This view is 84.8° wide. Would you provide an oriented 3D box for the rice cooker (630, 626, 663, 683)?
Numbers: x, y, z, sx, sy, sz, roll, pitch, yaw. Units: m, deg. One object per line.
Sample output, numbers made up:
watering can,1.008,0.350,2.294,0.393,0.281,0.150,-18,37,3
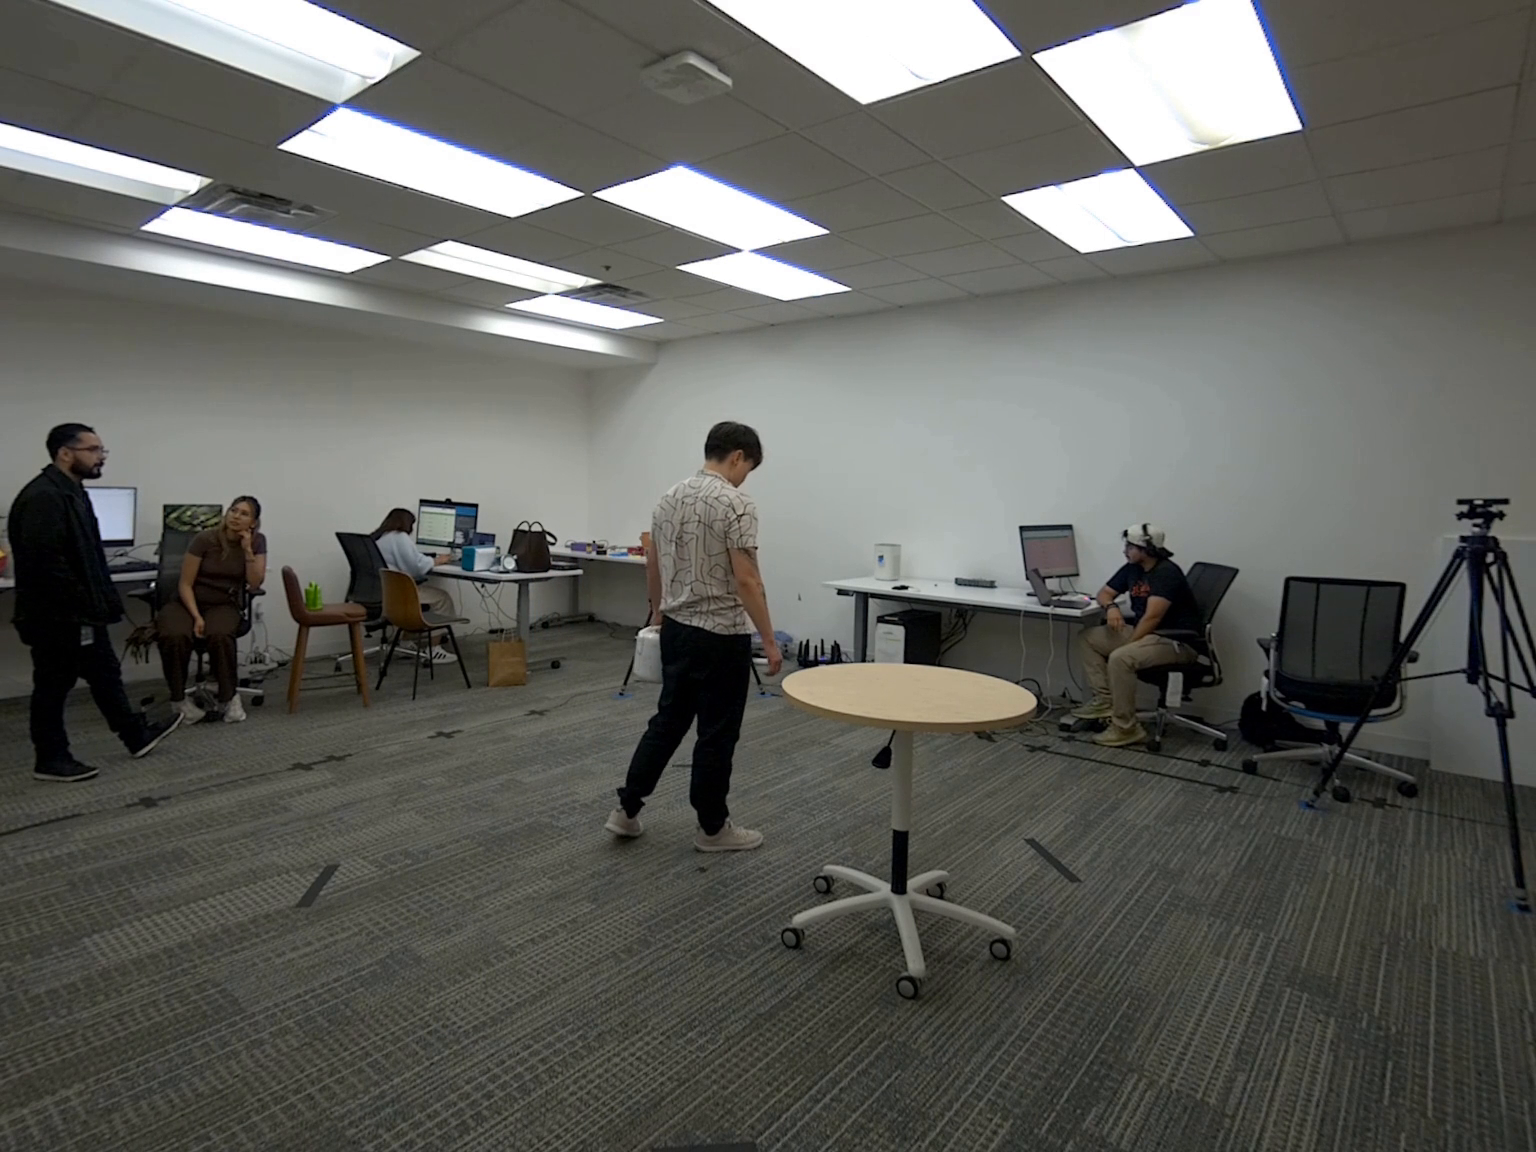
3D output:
rice cooker,-0.455,0.312,3.562,0.214,0.232,0.225,3,7,-34
